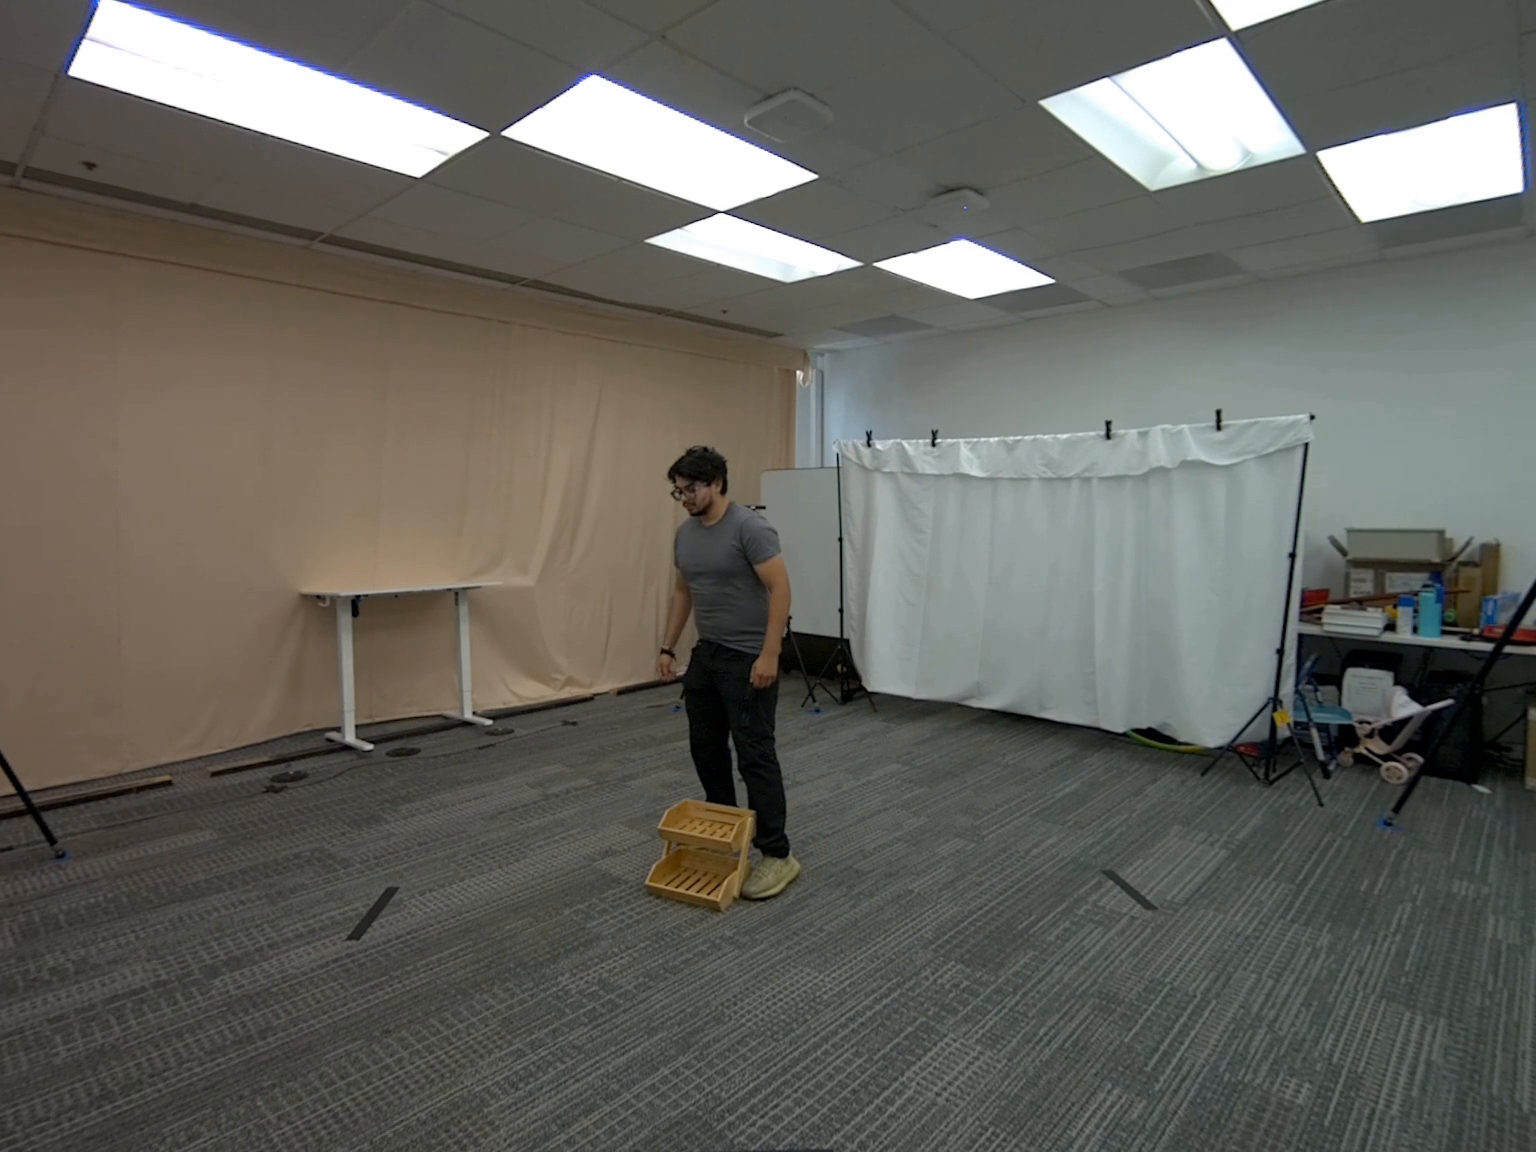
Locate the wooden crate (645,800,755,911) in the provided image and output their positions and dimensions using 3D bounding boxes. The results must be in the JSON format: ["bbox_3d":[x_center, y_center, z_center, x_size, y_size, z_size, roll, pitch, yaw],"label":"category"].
[{"bbox_3d":[-0.246,1.004,3.063,0.333,0.273,0.295,2,4,26],"label":"wooden crate"}]
